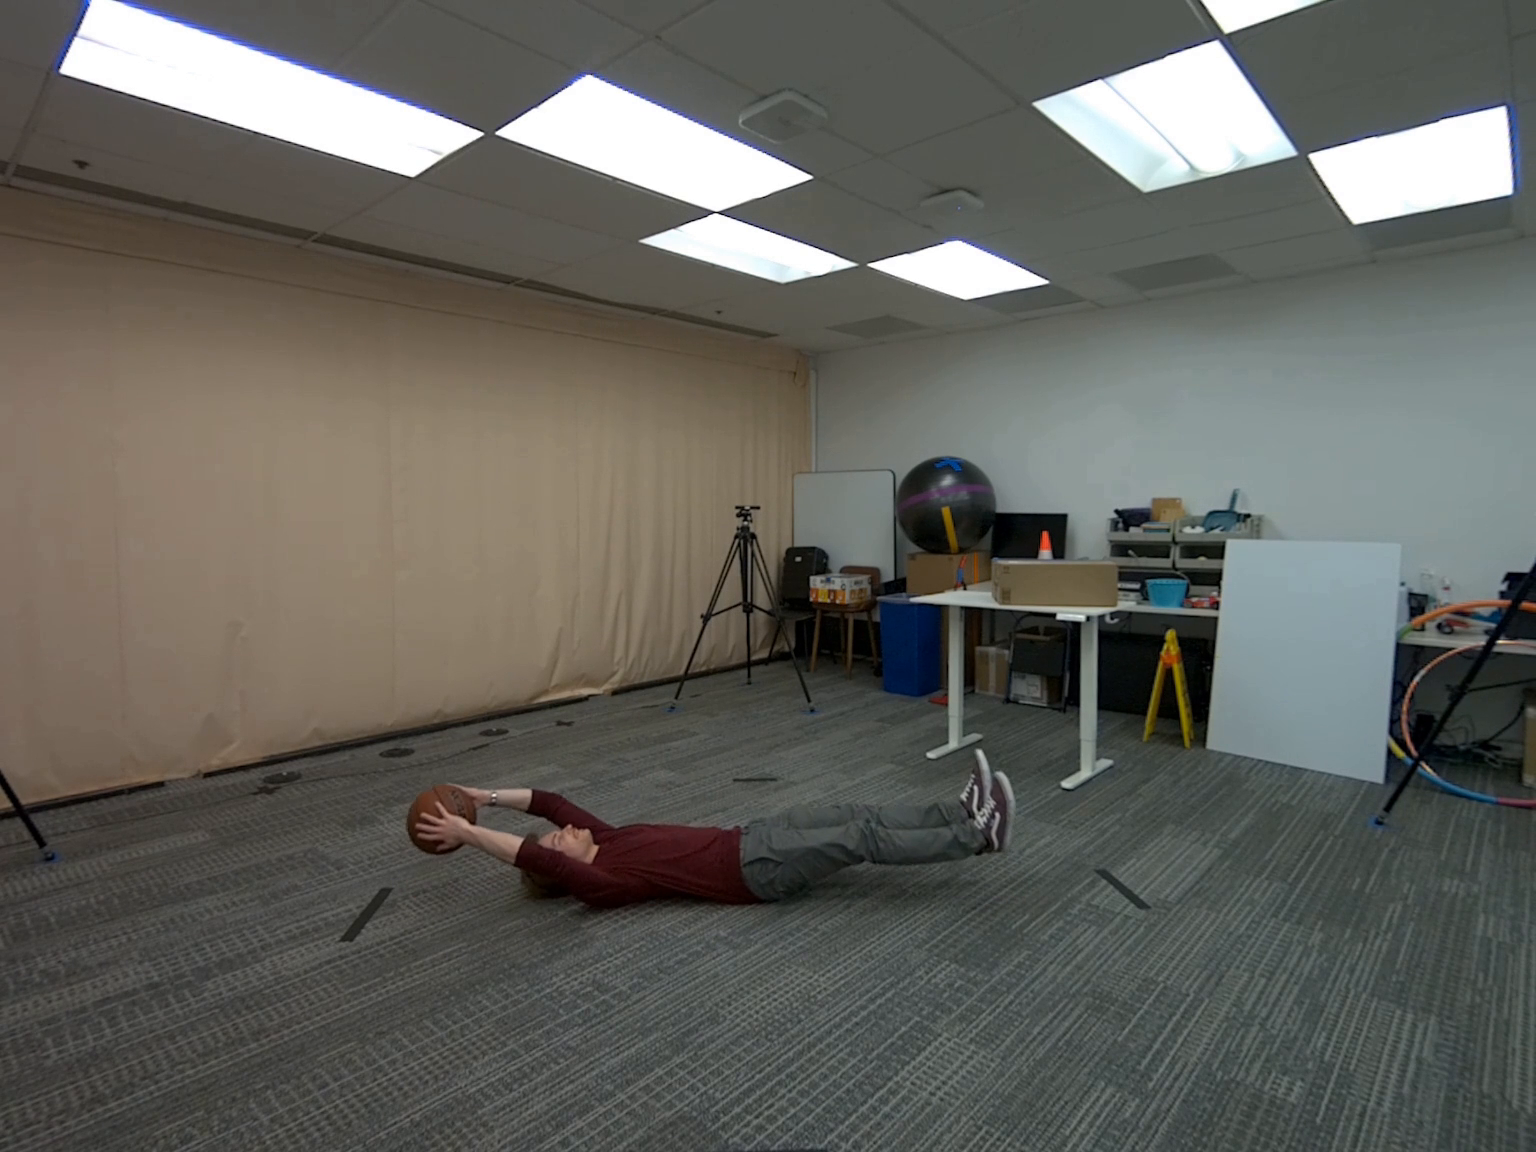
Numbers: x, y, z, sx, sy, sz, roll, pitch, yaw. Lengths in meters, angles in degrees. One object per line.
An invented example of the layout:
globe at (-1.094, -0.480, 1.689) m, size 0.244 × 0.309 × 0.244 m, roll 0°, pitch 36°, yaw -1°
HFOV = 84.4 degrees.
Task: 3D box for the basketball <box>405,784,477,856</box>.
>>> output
basketball at (-1.157, 0.863, 2.989) m, size 0.236 × 0.235 × 0.237 m, roll 0°, pitch 4°, yaw -2°
